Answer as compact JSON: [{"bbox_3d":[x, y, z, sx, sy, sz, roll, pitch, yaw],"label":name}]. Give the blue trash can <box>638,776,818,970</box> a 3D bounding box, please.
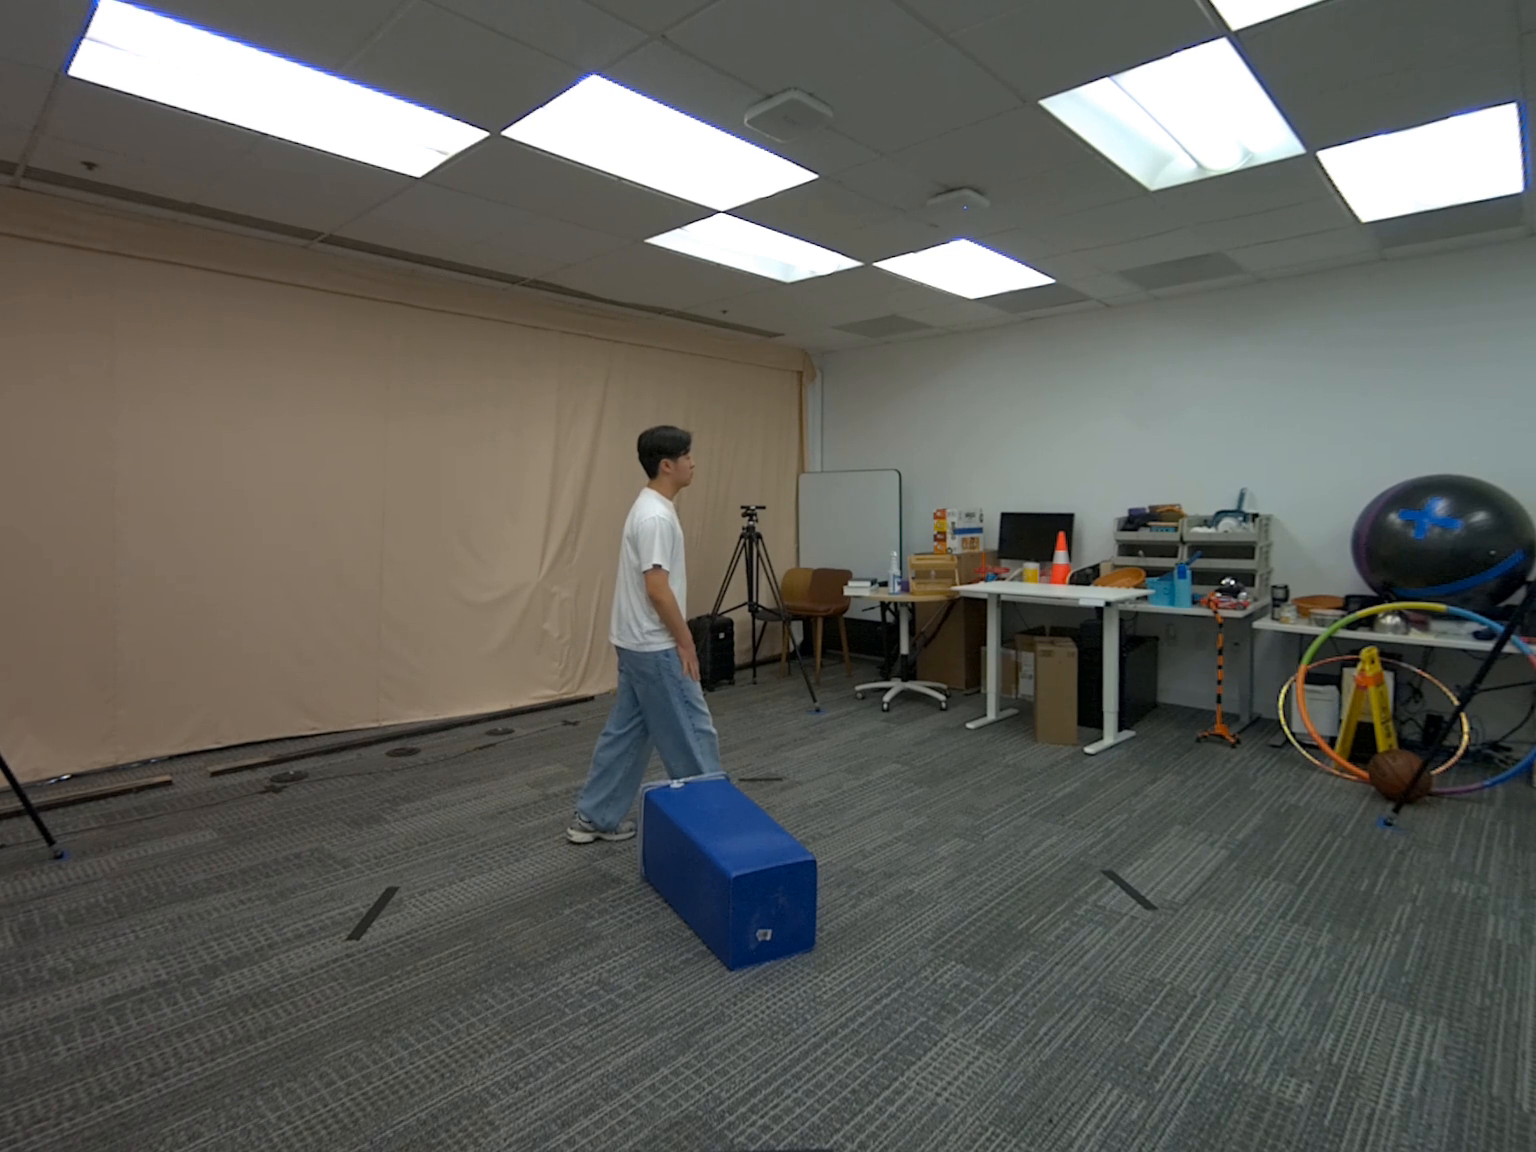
[{"bbox_3d":[-0.141,0.988,2.881,0.364,0.377,0.734,-2,7,-28],"label":"blue trash can"}]
